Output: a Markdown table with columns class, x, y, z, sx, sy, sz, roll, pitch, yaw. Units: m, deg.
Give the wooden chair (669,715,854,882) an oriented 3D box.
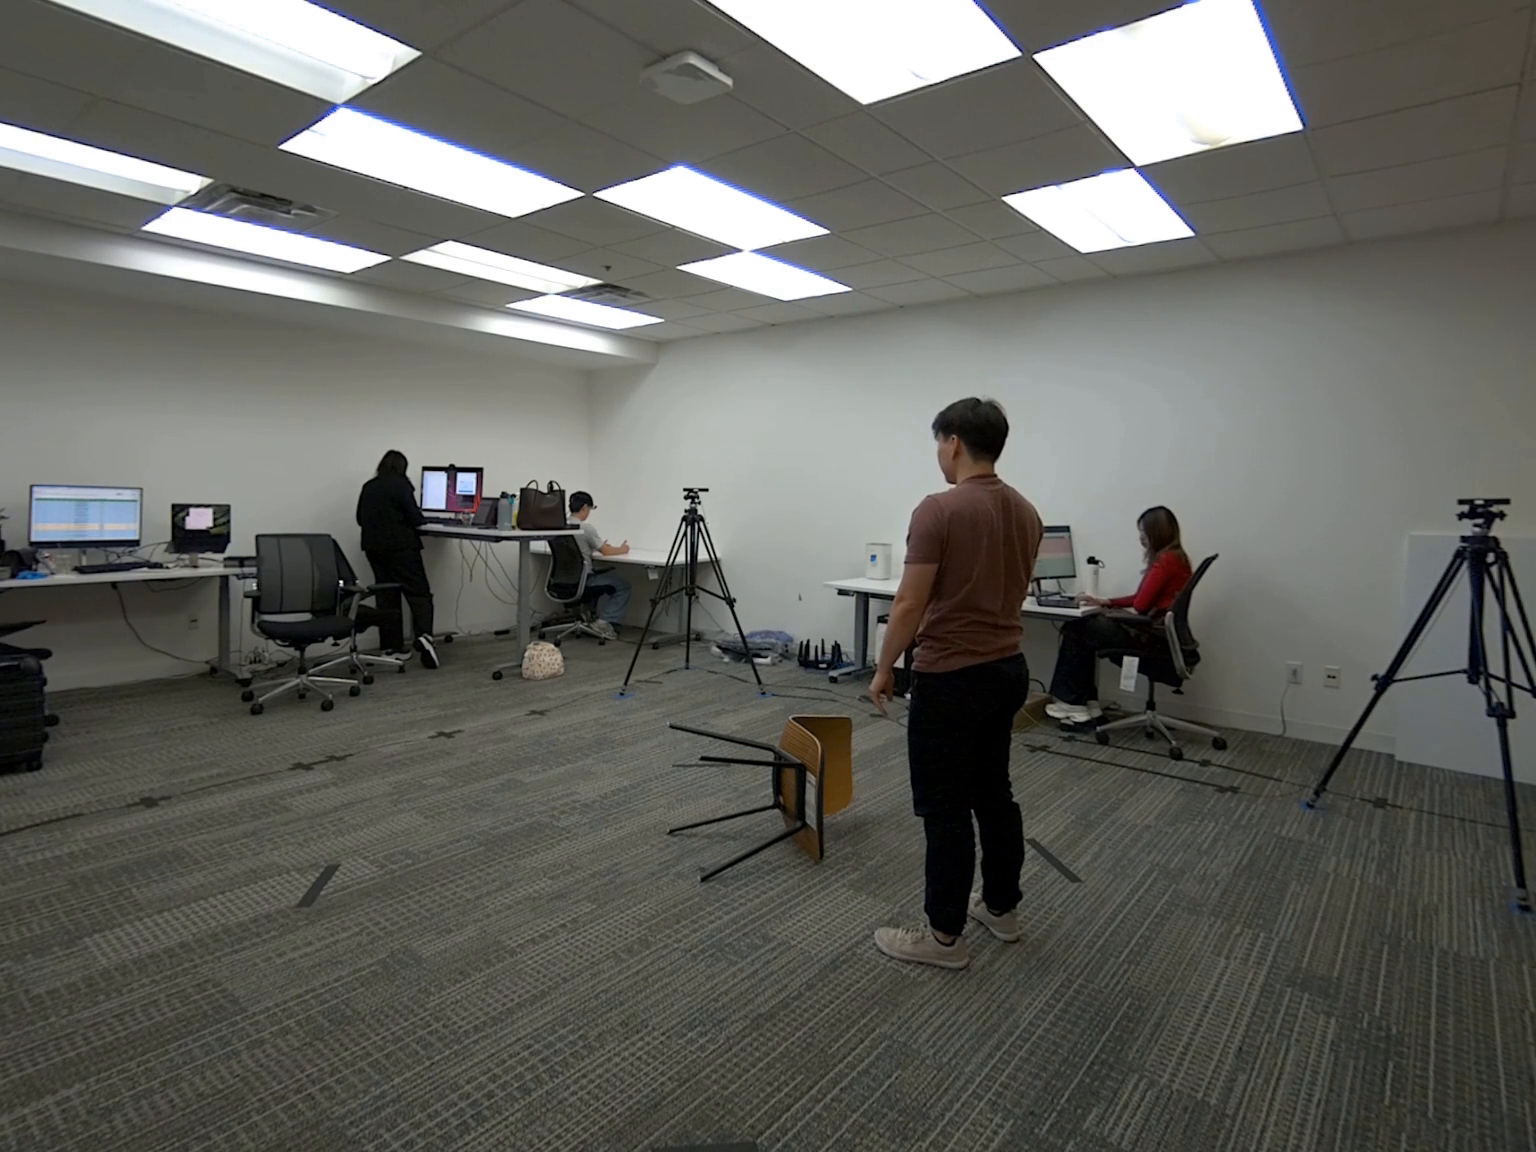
| class | x | y | z | sx | sy | sz | roll | pitch | yaw |
| --- | --- | --- | --- | --- | --- | --- | --- | --- | --- |
| wooden chair | 0.070 | 0.825 | 3.319 | 0.858 | 0.476 | 0.537 | -1 | 5 | -24 |
